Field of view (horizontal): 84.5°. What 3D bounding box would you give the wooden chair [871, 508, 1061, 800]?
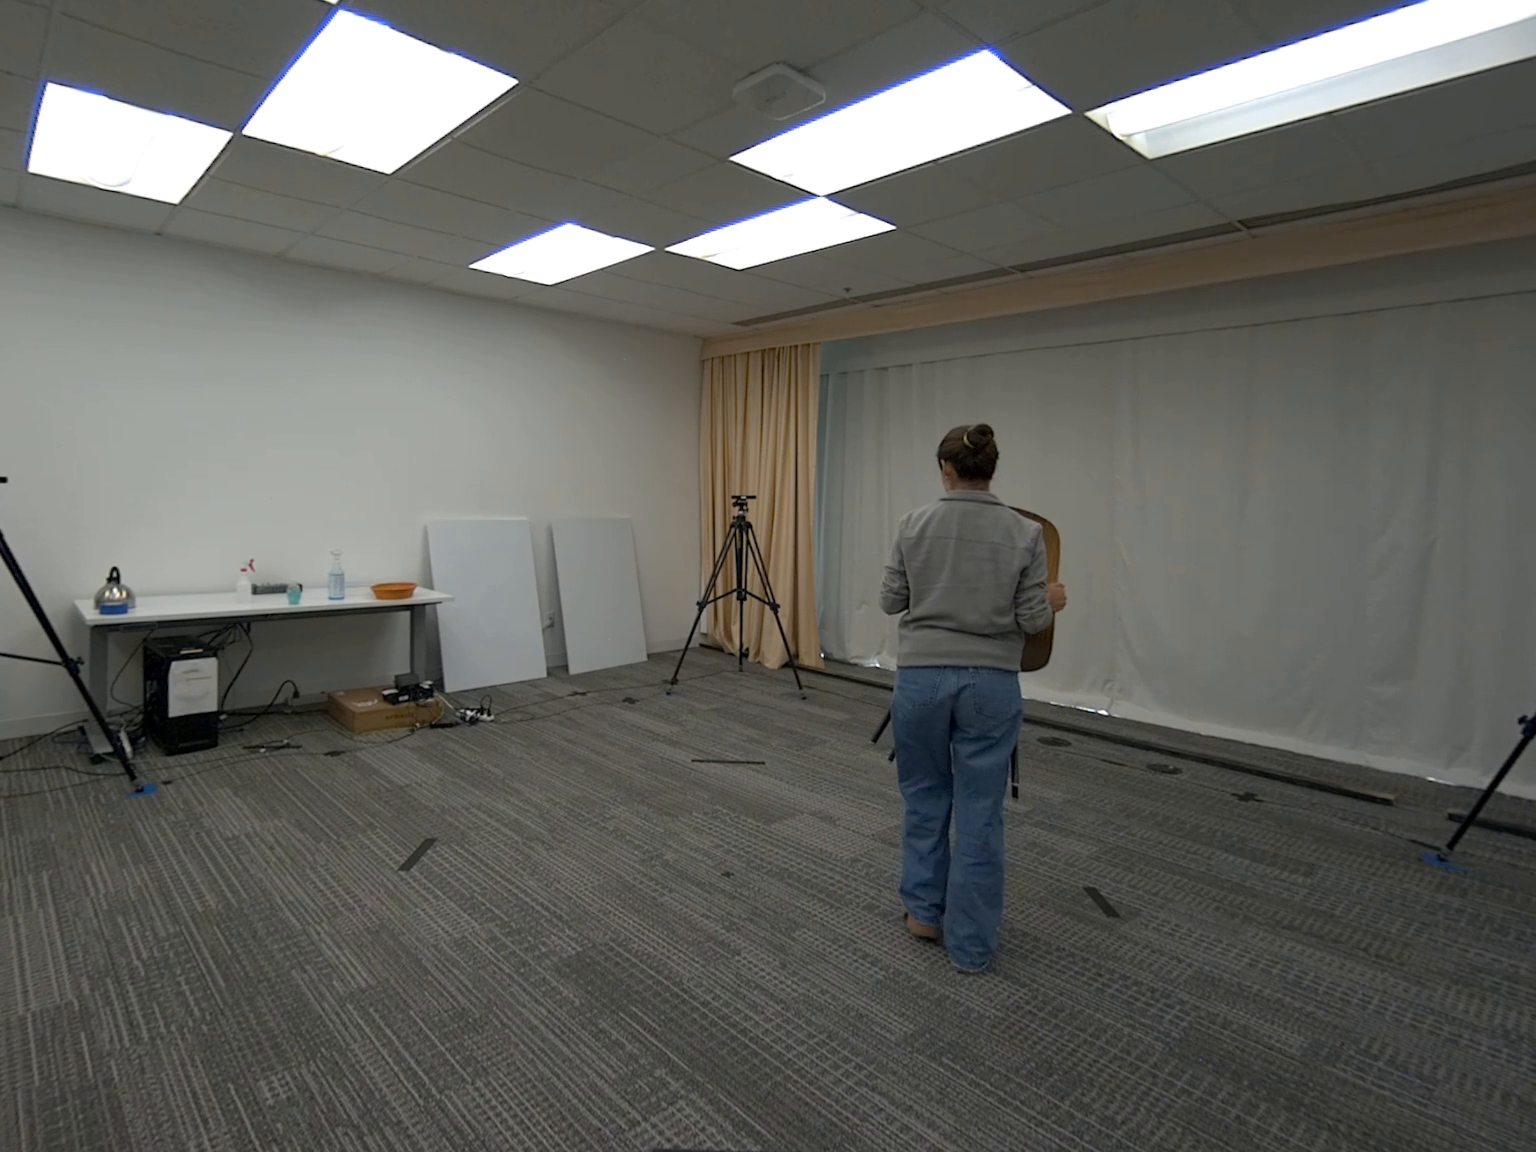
[{"bbox_3d":[0.706,0.259,2.866,0.487,0.882,0.510,12,-12,22],"label":"wooden chair"}]
